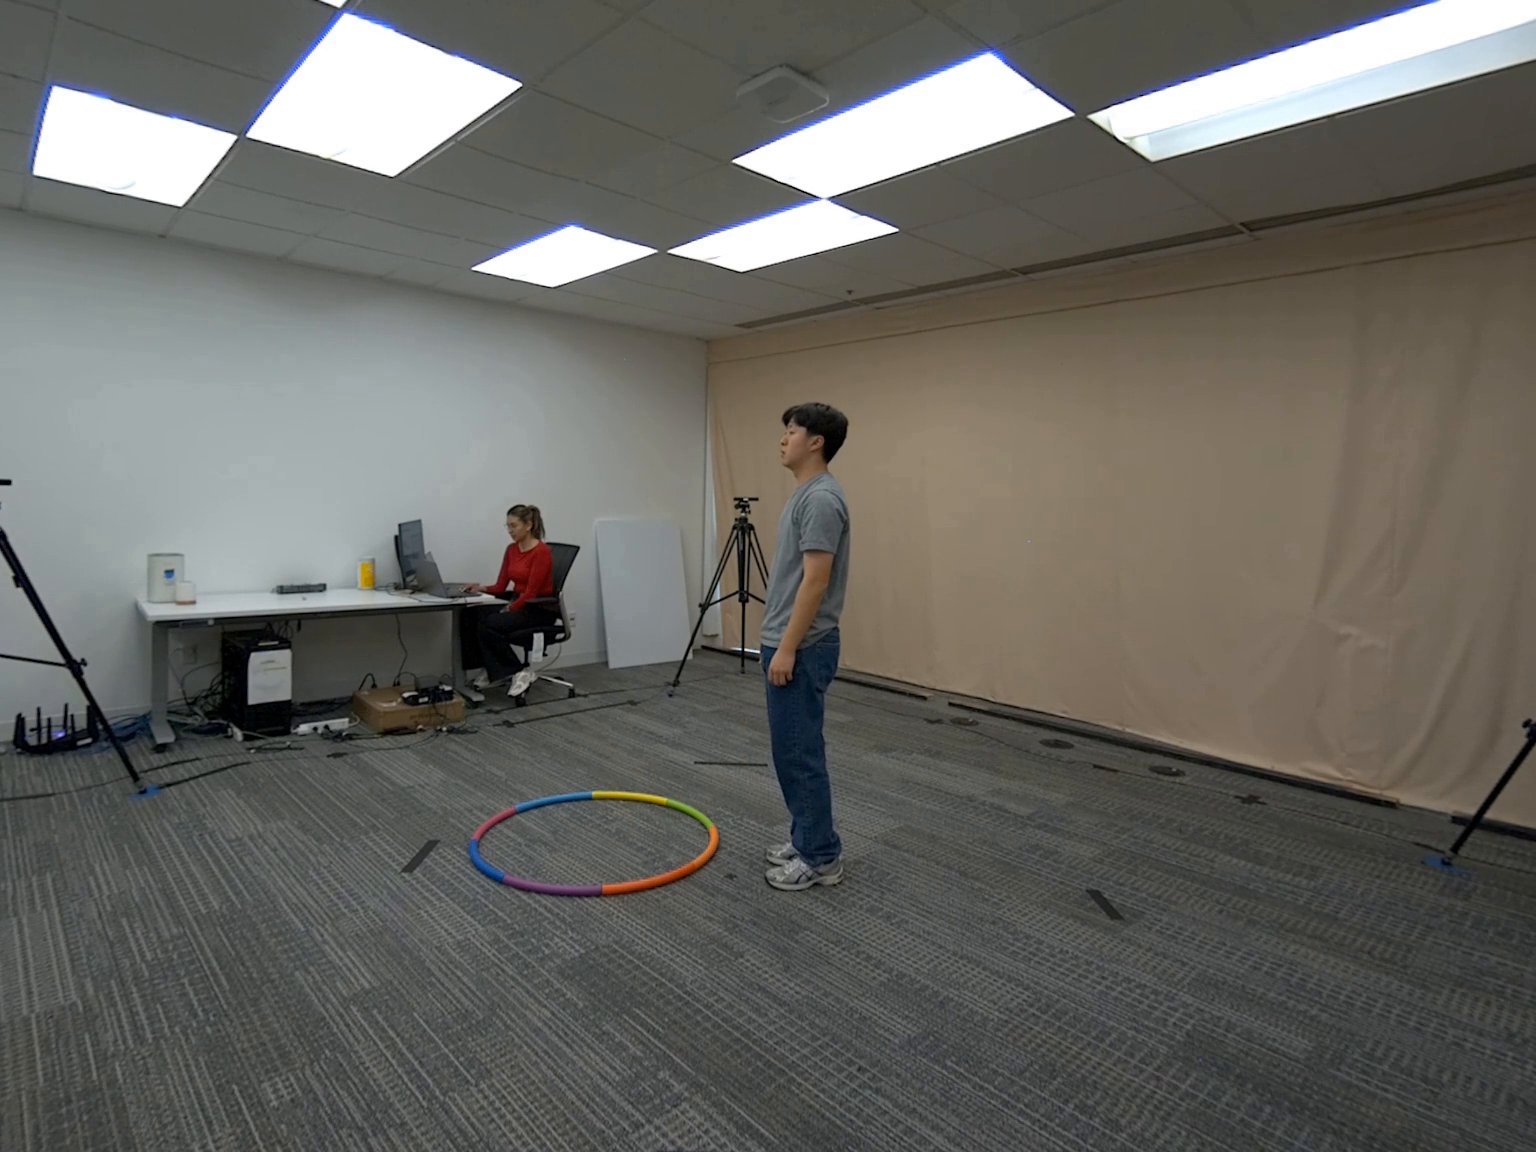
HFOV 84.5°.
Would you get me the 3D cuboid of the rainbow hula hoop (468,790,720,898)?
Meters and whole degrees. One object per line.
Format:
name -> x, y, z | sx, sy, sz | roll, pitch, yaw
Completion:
rainbow hula hoop -> -0.701, 1.038, 3.397 | 0.978, 0.035, 0.982 | 2, 5, -1
